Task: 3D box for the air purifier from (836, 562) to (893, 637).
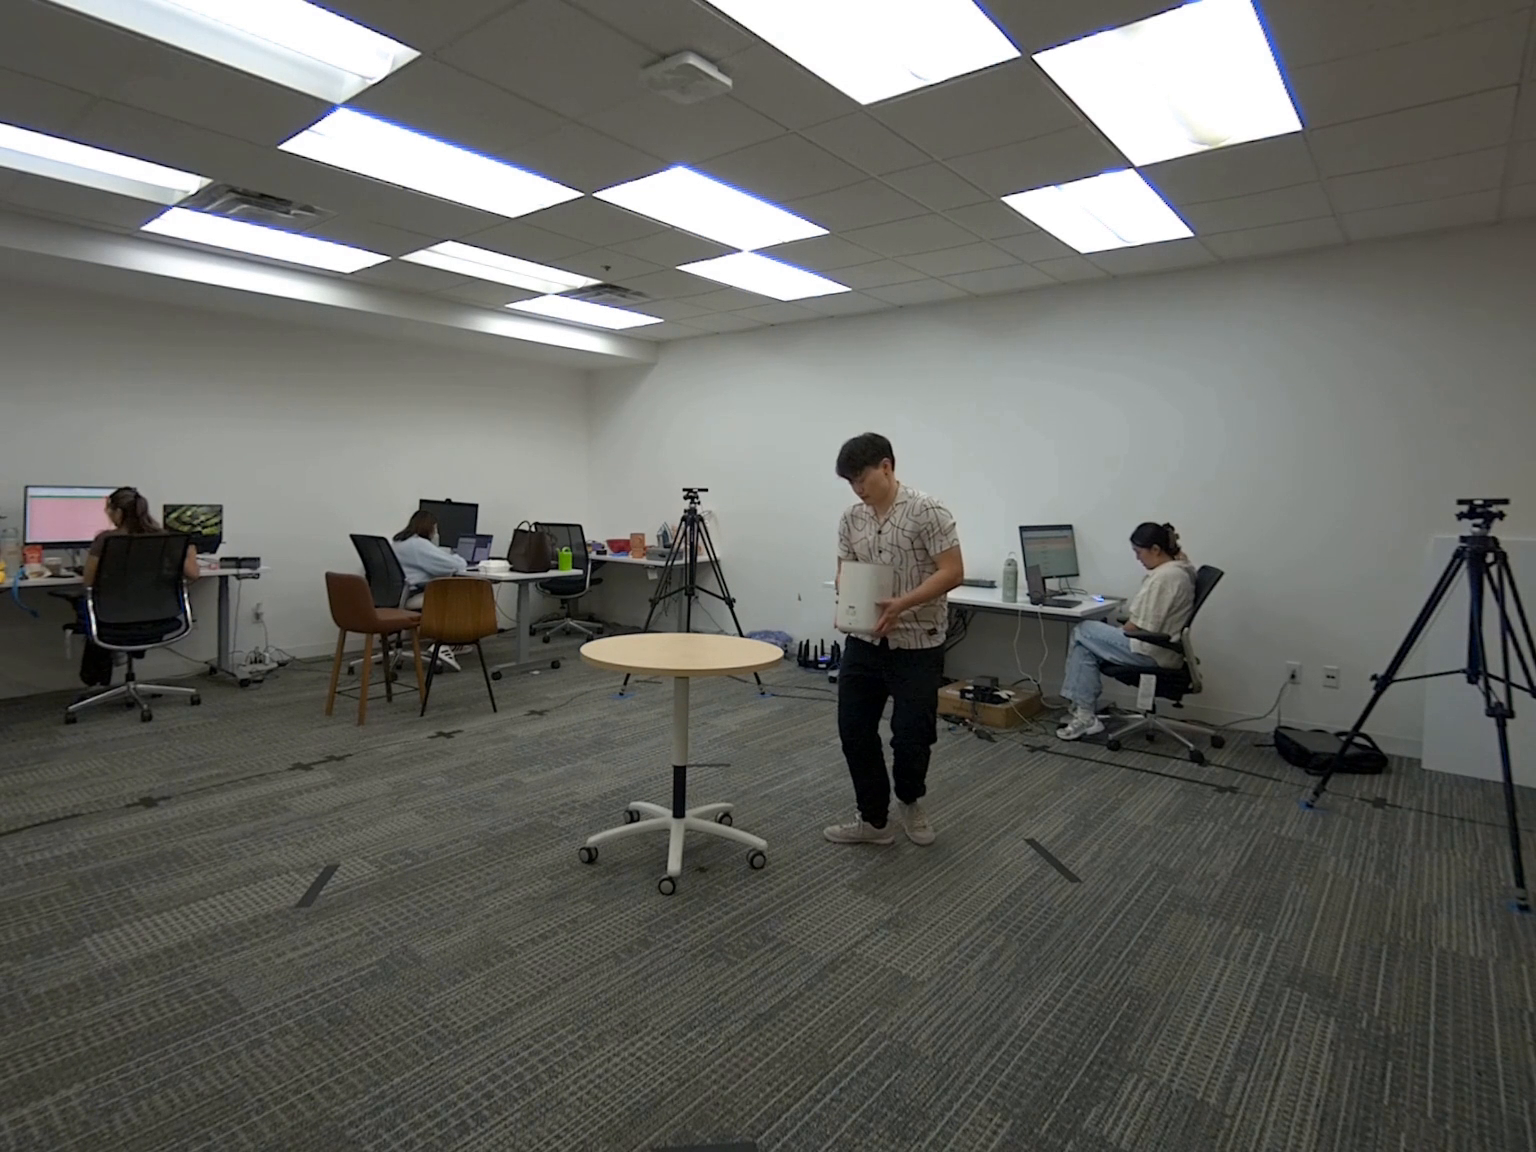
[{"bbox_3d":[0.353,0.083,3.205,0.177,0.265,0.166,6,0,42],"label":"air purifier"}]
